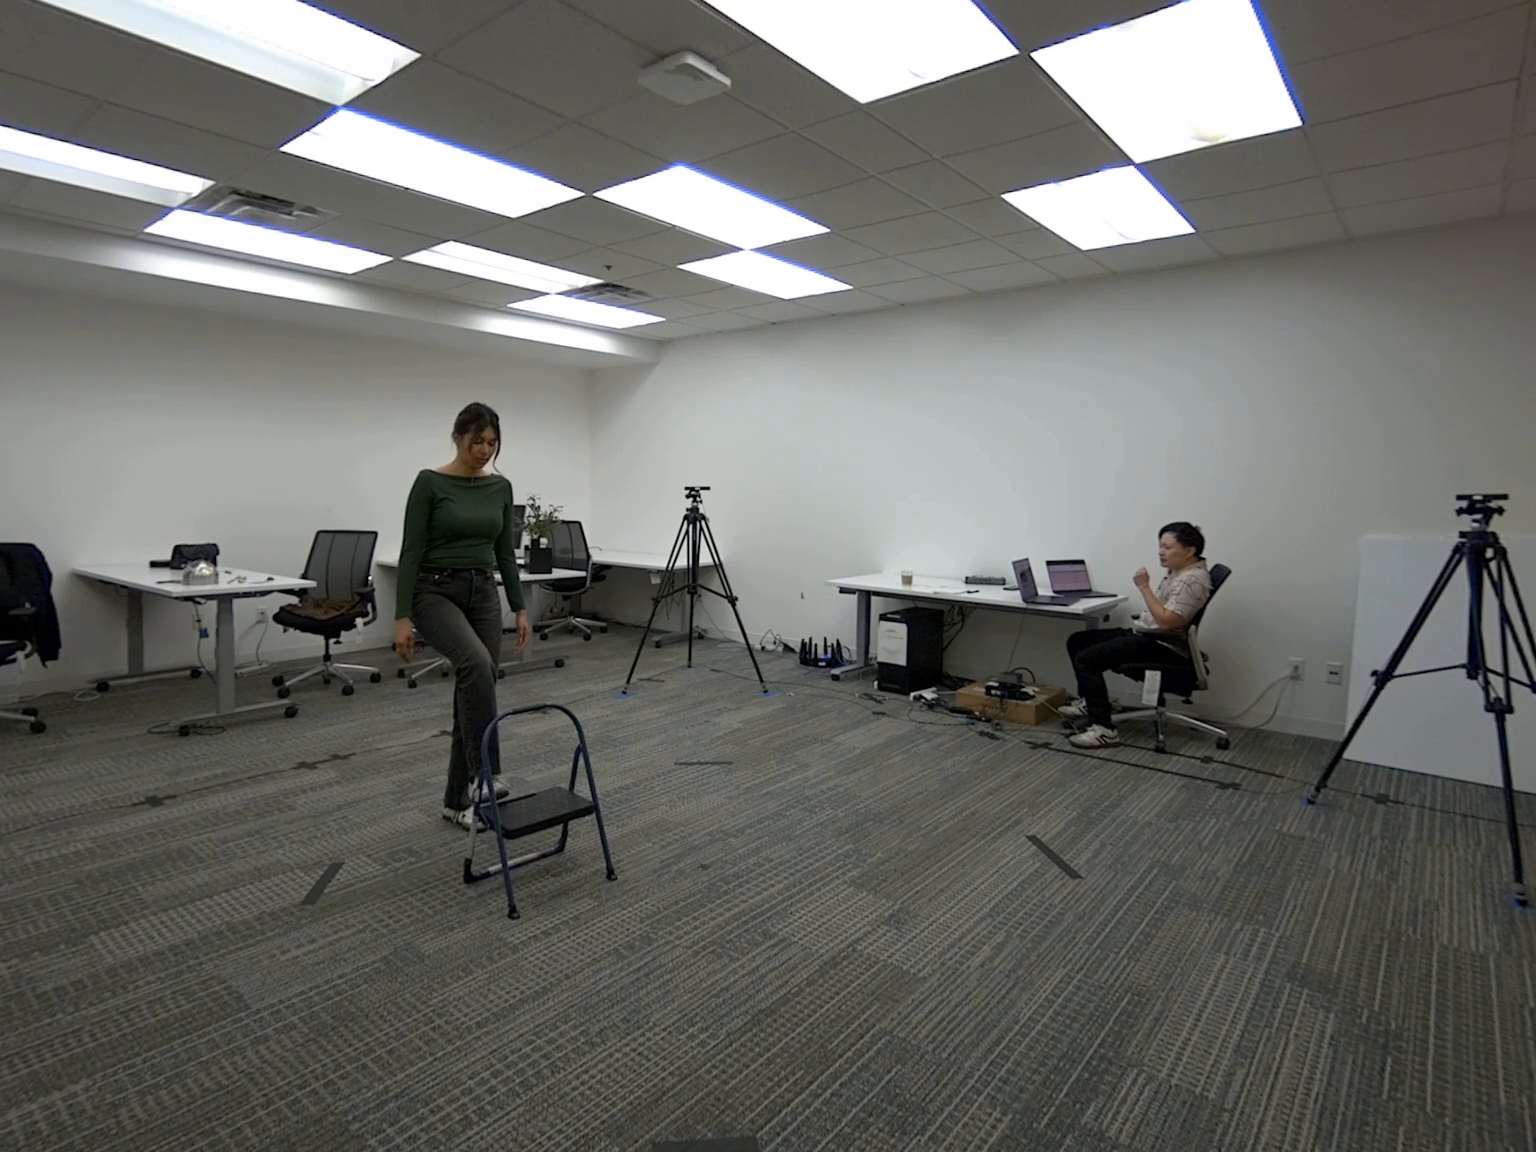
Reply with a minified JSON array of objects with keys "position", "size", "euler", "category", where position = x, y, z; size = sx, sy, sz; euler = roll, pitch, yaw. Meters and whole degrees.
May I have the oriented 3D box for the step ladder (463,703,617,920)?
[{"position":[-0.808,0.767,2.975],"size":[0.361,0.604,0.417],"euler":[4,4,43],"category":"step ladder"}]
